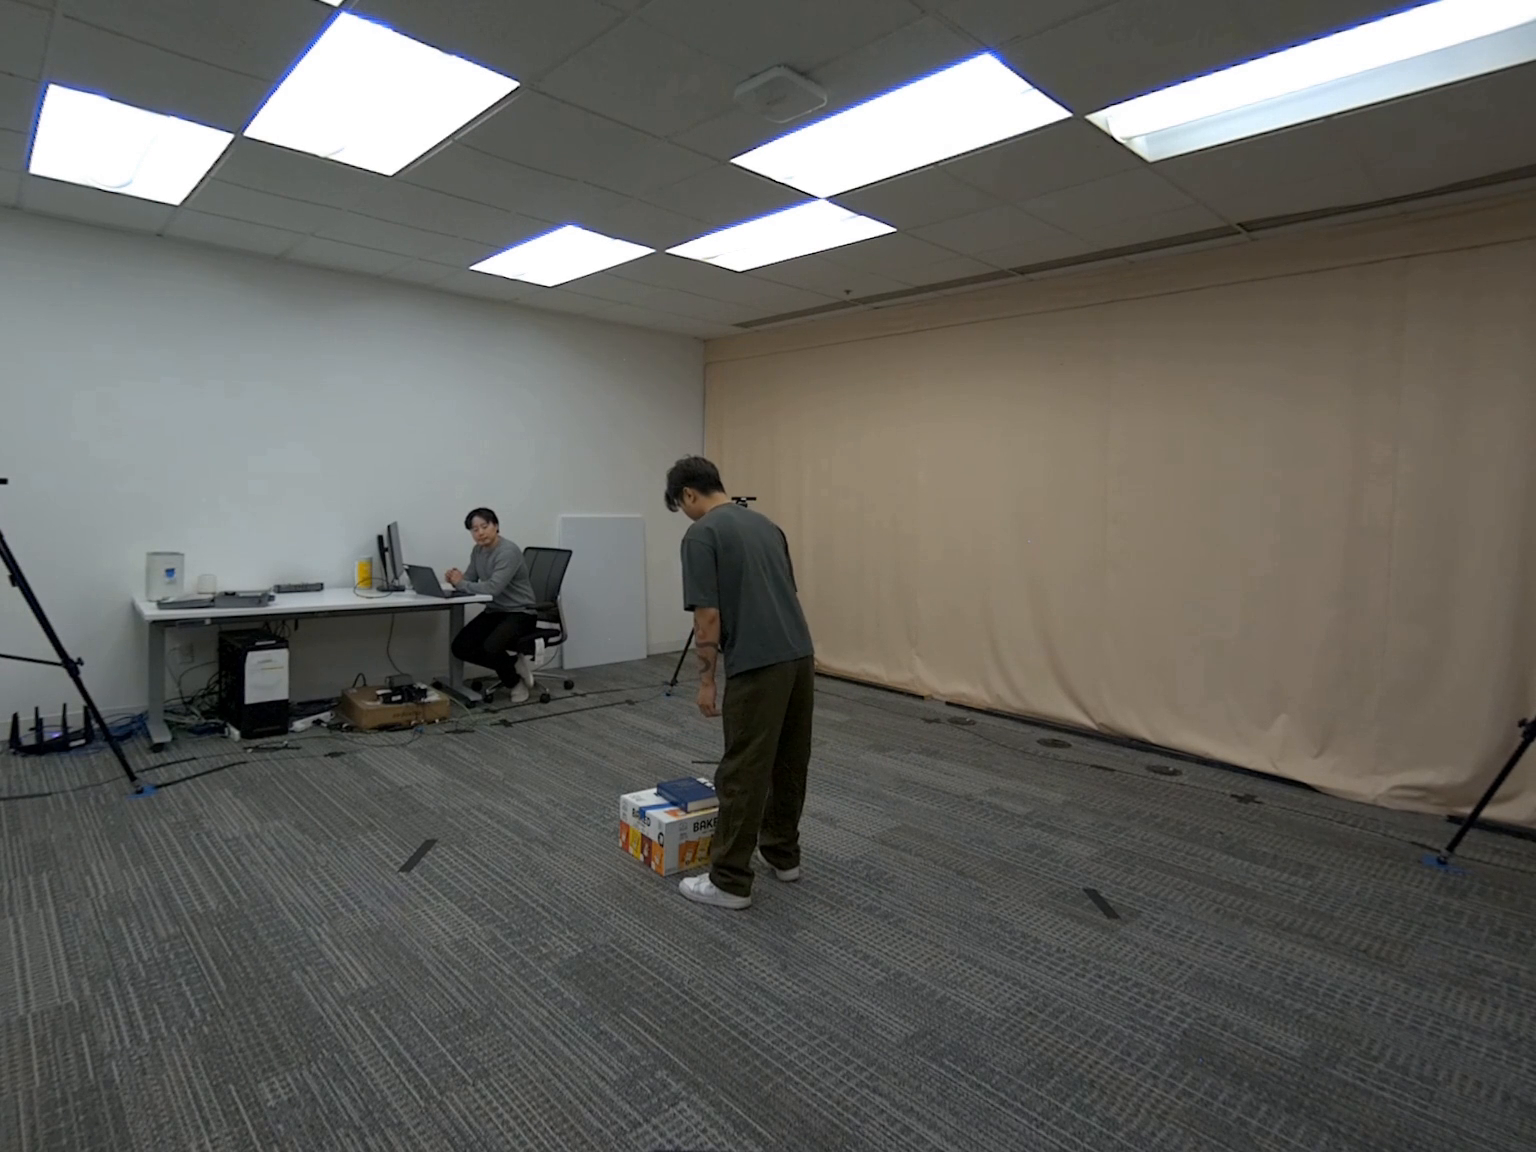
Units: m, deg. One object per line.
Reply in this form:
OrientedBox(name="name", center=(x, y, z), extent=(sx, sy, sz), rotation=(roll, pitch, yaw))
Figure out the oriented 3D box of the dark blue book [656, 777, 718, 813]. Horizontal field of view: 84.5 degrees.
OrientedBox(name="dark blue book", center=(-0.324, 0.869, 3.339), extent=(0.160, 0.045, 0.251), rotation=(-2, 6, -35))
